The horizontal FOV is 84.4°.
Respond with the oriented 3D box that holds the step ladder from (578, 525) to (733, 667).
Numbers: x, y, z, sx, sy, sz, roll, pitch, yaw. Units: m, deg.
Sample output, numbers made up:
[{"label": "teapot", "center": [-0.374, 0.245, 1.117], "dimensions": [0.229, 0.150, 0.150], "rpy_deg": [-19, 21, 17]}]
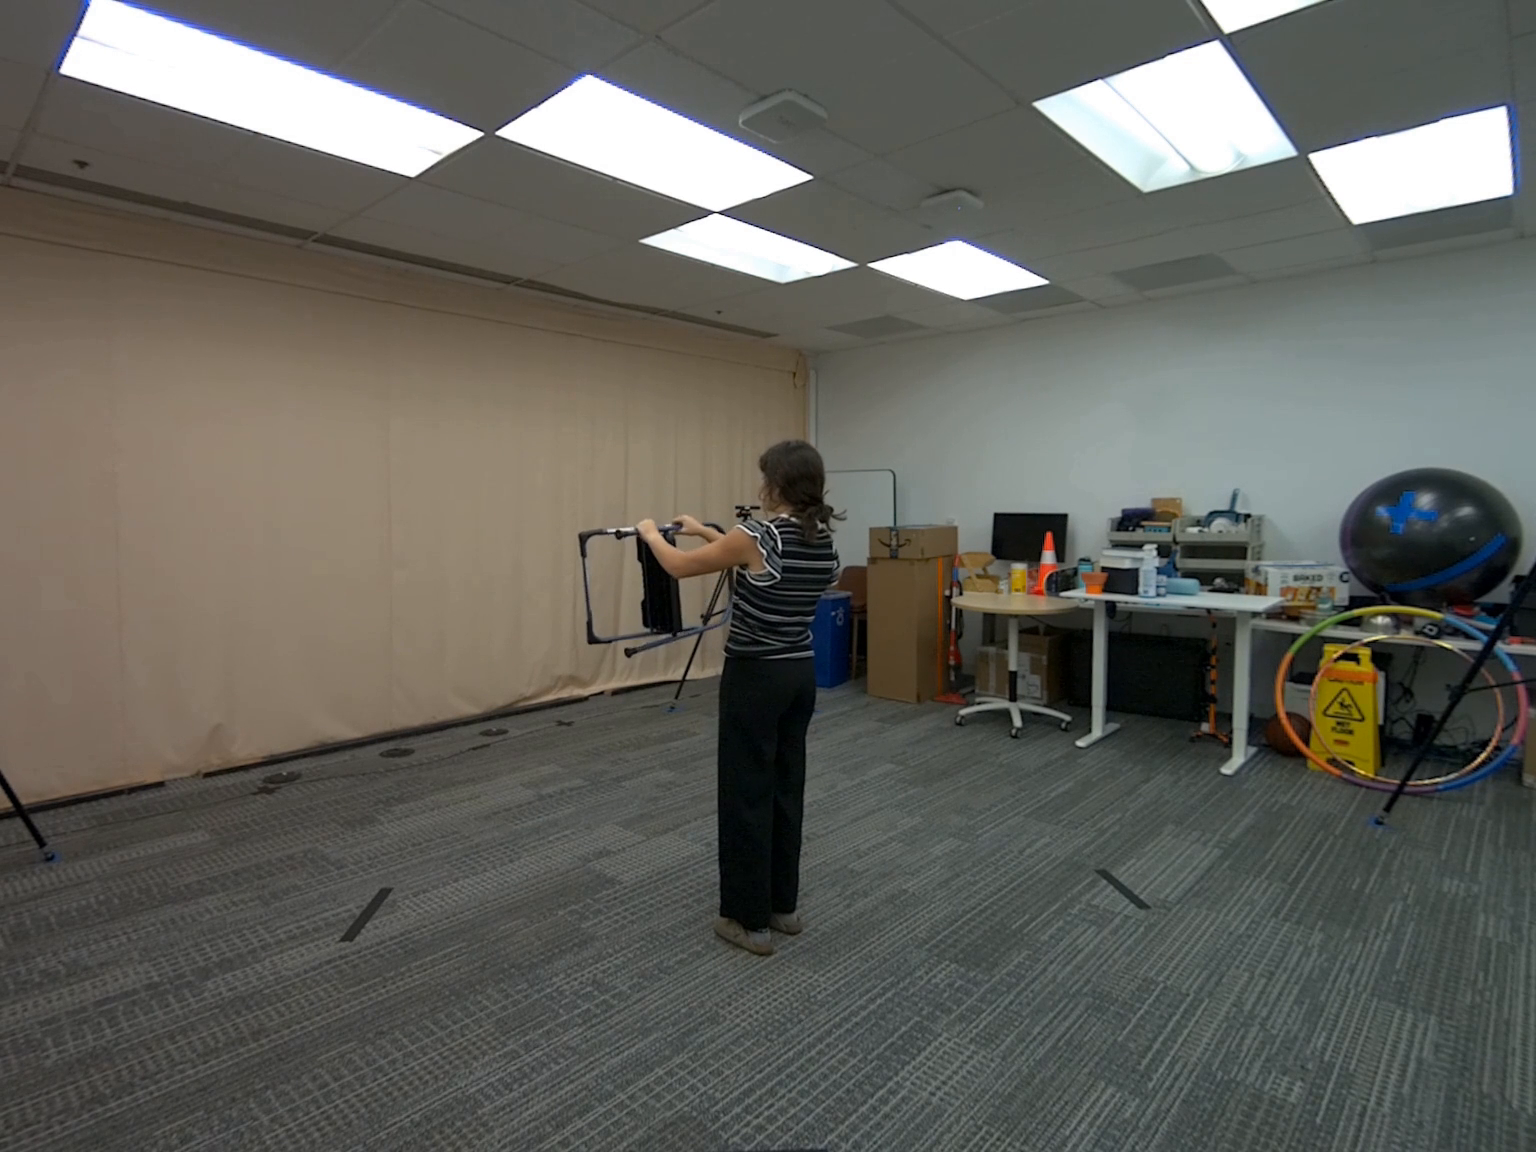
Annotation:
[{"label": "step ladder", "center": [-0.338, 0.018, 3.093], "dimensions": [0.589, 0.429, 0.360], "rpy_deg": [-8, 5, -35]}]
